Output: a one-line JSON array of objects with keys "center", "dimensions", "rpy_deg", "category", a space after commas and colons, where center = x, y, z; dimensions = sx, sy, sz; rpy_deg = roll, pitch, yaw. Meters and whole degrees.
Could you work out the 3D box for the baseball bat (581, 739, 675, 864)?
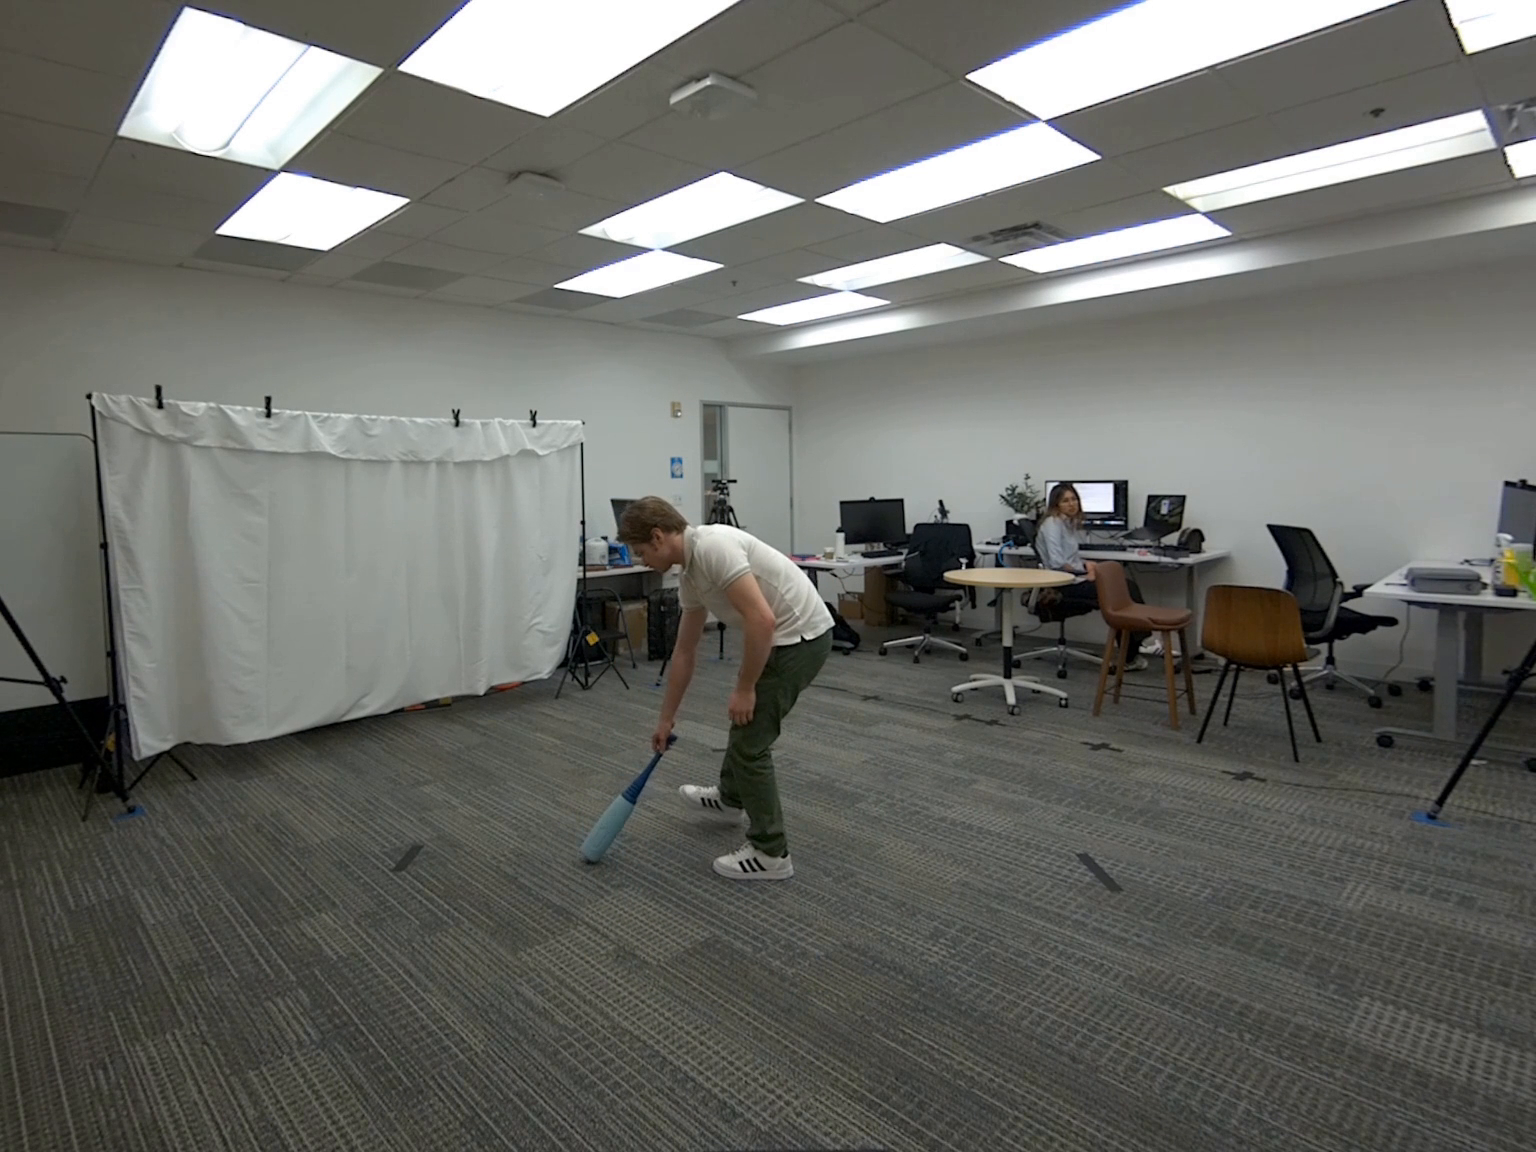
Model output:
[{"center": [-0.507, 0.823, 3.181], "dimensions": [0.089, 0.544, 0.088], "rpy_deg": [35, -8, 3], "category": "baseball bat"}]
